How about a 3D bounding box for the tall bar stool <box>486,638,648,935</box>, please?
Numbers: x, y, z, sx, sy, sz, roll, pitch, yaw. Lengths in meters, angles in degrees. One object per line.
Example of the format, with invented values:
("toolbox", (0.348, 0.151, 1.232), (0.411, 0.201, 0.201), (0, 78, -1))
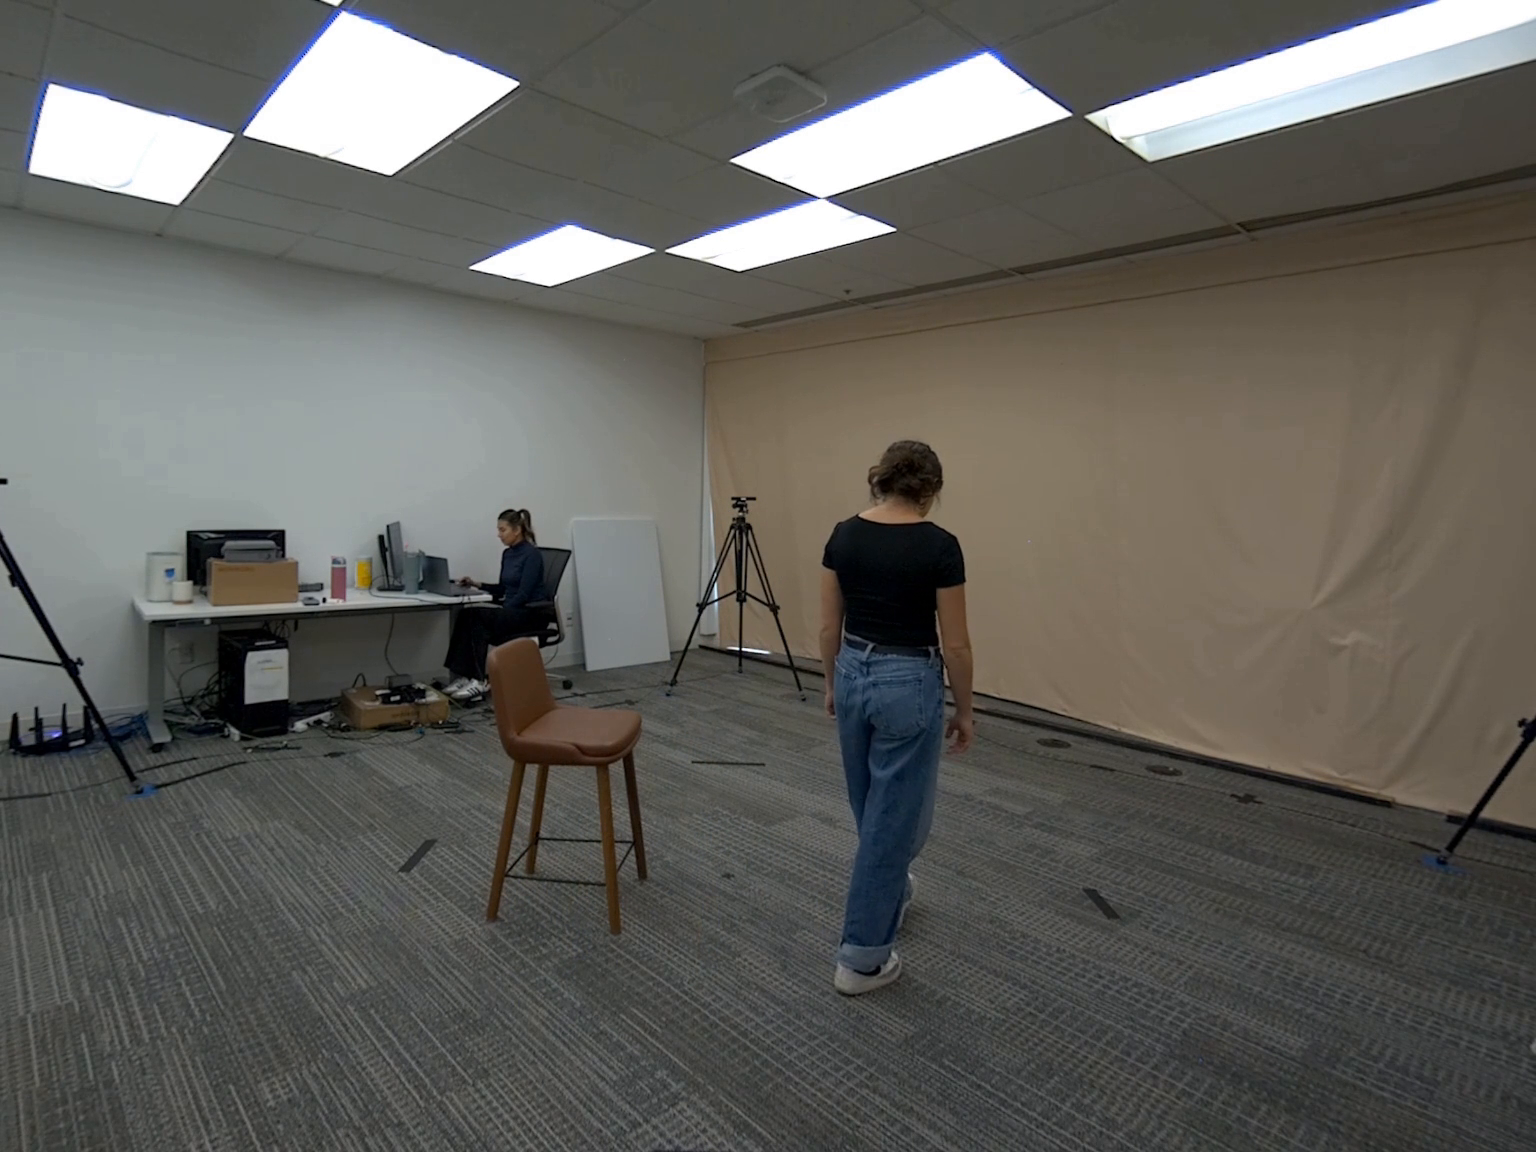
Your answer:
("tall bar stool", (-0.683, 0.680, 2.875), (0.470, 0.888, 0.455), (0, 3, 6))
